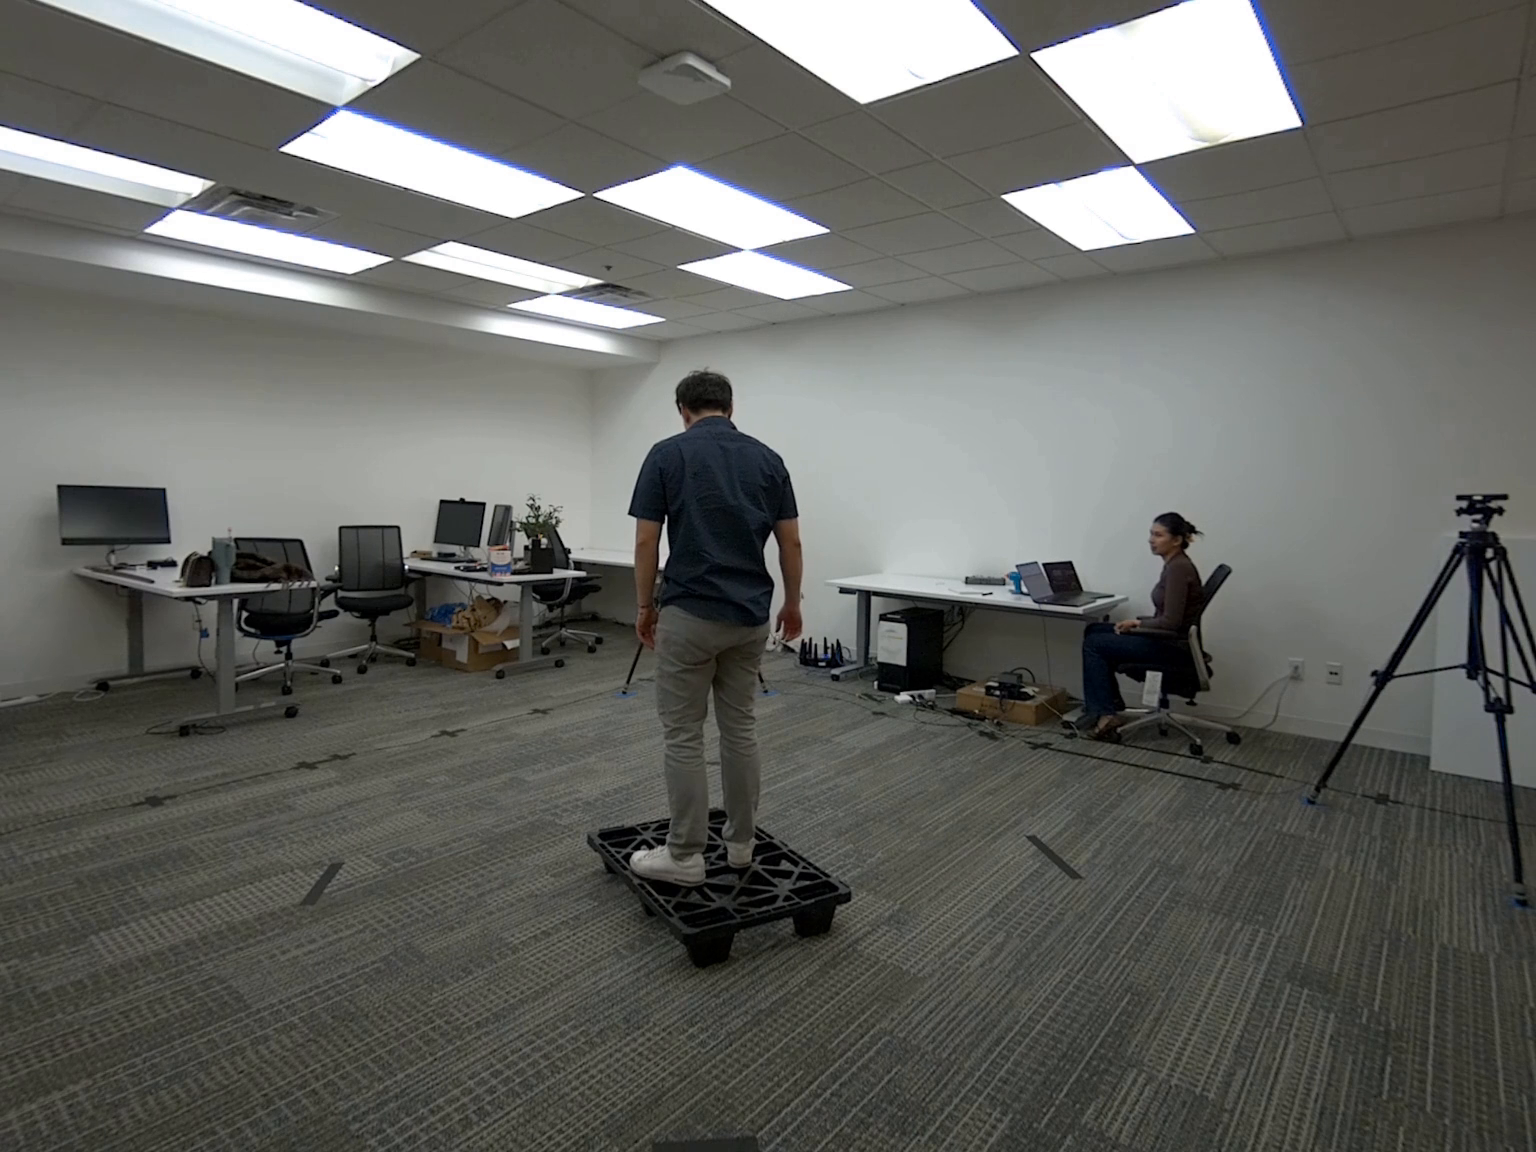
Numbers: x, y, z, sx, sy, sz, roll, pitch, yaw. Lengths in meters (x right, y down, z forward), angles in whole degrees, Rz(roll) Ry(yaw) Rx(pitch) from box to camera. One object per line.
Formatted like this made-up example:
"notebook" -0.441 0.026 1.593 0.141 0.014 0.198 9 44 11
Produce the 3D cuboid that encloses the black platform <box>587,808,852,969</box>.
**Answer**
"black platform" -0.205 1.022 2.874 0.589 0.143 0.830 -3 7 -30
